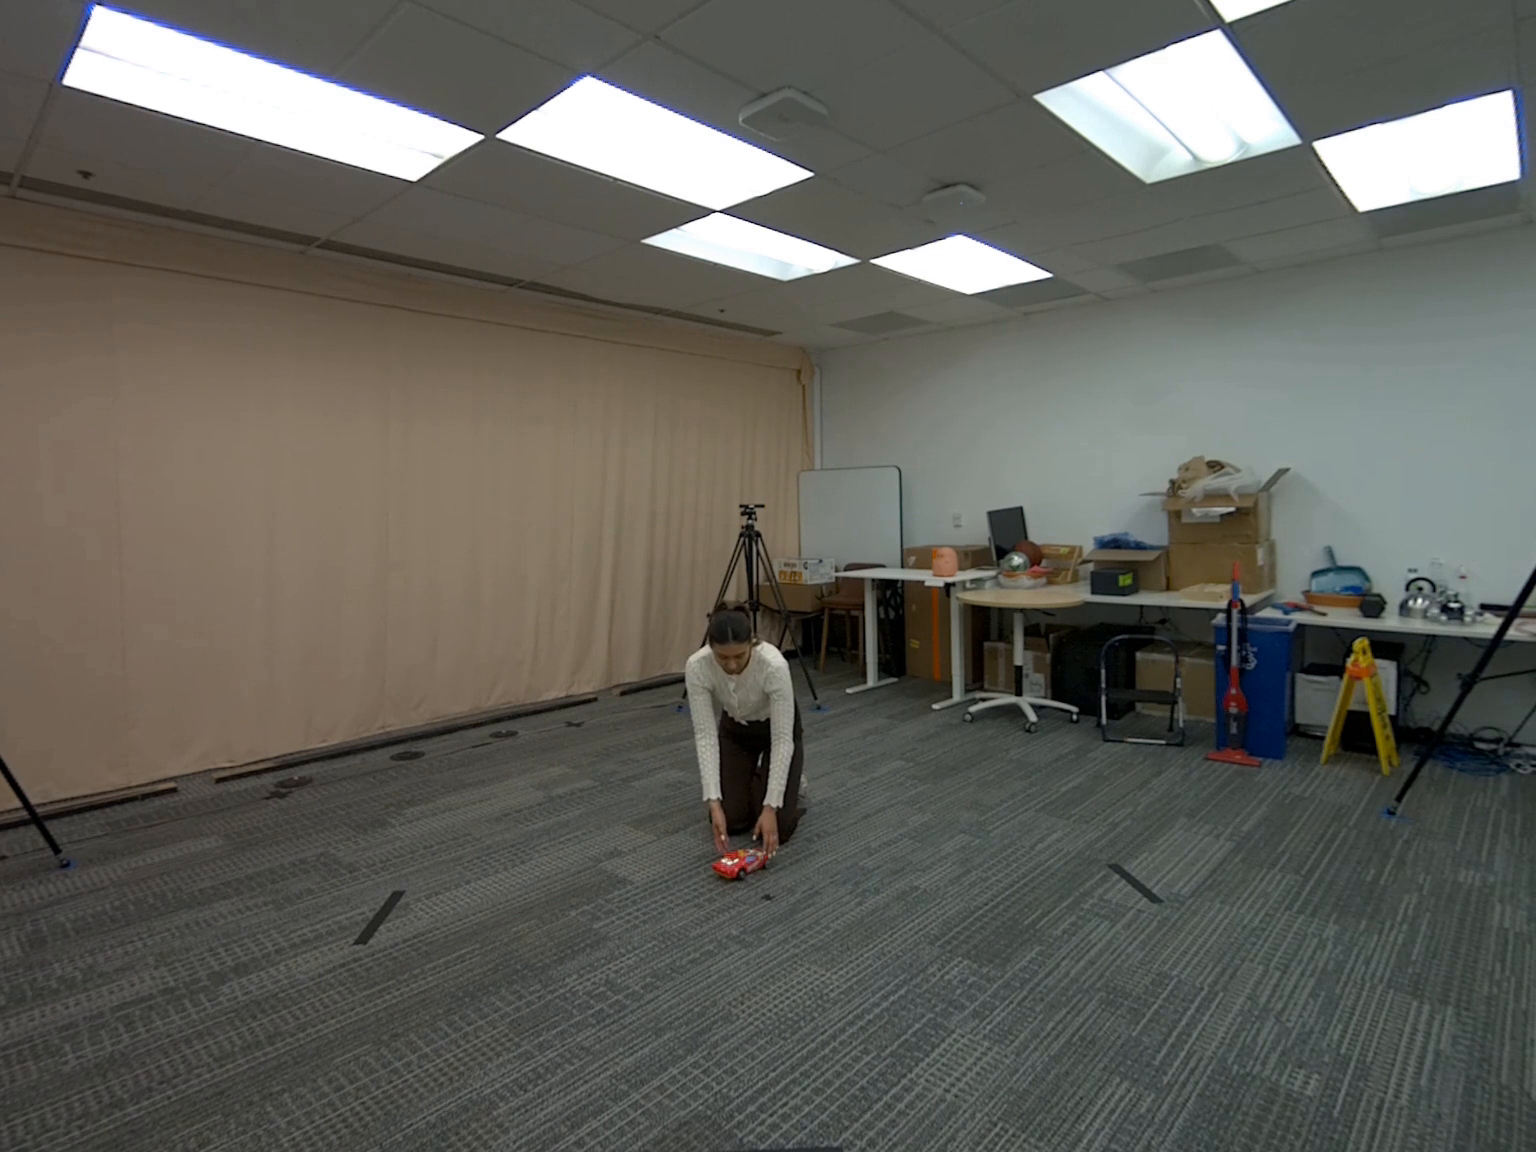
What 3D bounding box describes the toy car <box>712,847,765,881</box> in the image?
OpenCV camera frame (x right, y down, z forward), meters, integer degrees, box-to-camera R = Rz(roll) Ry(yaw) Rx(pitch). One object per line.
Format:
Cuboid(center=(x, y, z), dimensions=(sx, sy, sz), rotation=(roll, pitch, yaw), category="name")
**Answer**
Cuboid(center=(-0.105, 1.082, 3.192), dimensions=(0.246, 0.083, 0.134), rotation=(10, -4, -45), category="toy car")
